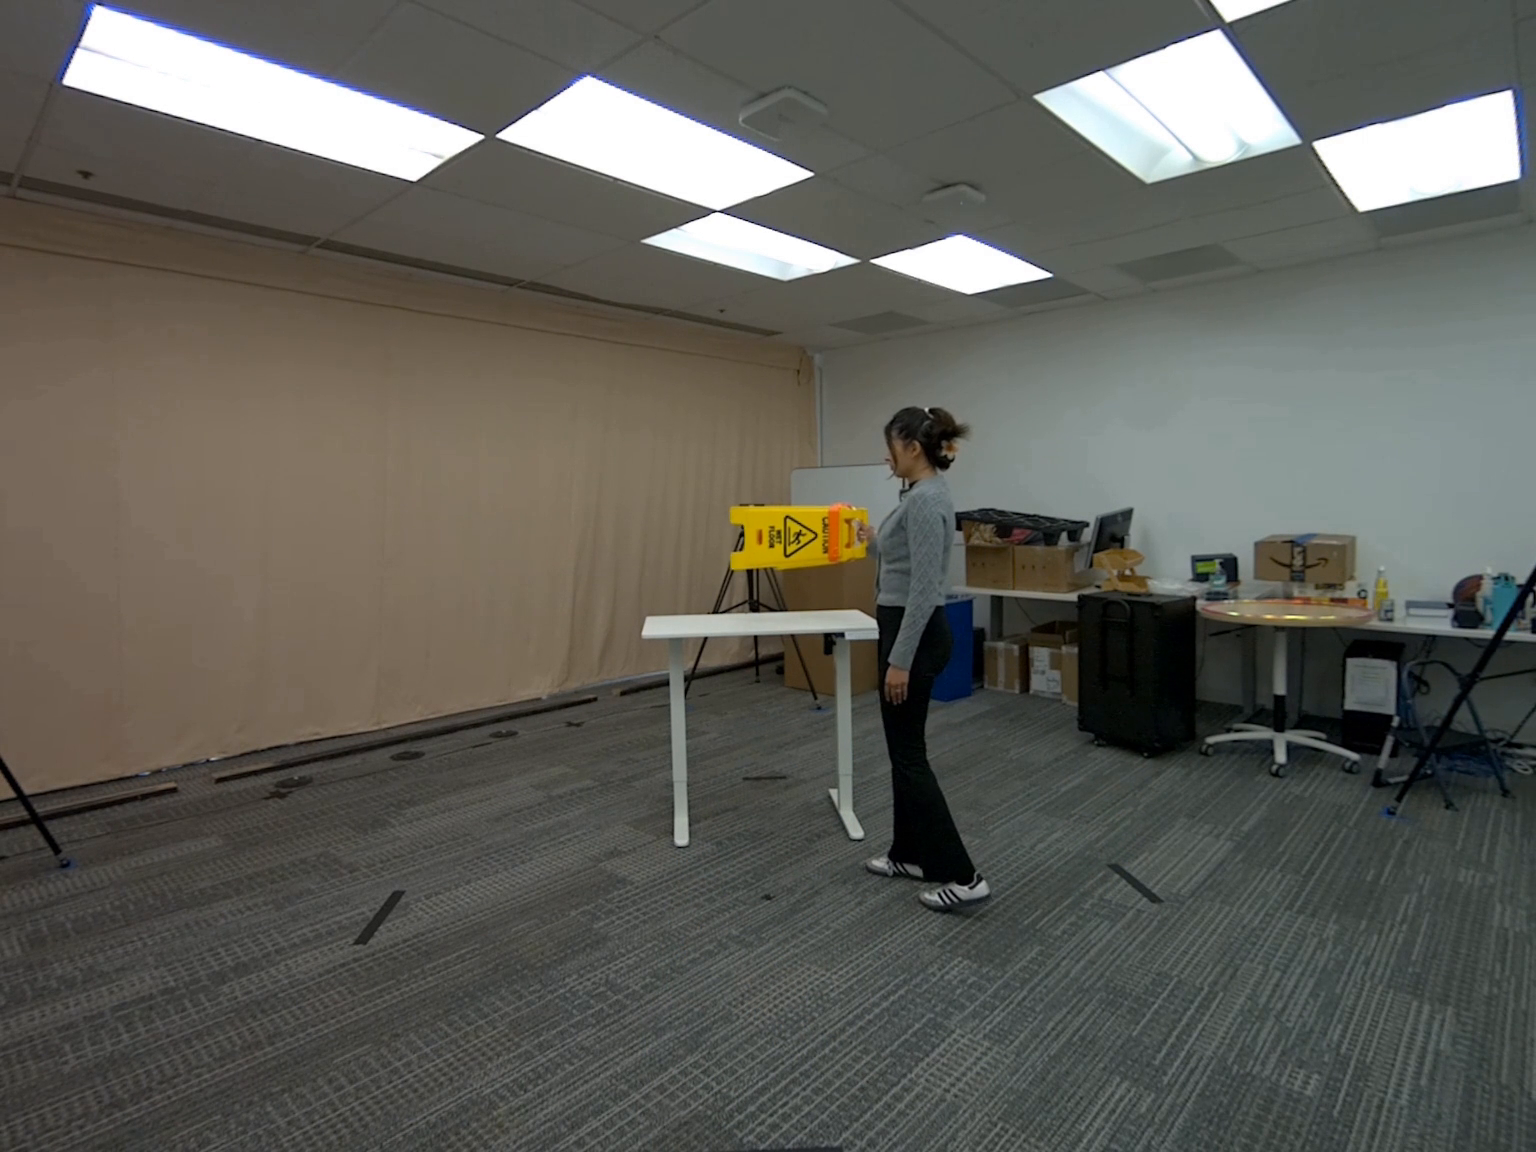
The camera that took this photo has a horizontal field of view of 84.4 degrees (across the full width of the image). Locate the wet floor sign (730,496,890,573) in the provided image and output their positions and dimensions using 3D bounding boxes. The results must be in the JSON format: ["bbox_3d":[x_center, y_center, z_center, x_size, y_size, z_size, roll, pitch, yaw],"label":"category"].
[{"bbox_3d":[0.165,-0.166,3.584,0.280,0.282,0.666,0,-1,-43],"label":"wet floor sign"}]
